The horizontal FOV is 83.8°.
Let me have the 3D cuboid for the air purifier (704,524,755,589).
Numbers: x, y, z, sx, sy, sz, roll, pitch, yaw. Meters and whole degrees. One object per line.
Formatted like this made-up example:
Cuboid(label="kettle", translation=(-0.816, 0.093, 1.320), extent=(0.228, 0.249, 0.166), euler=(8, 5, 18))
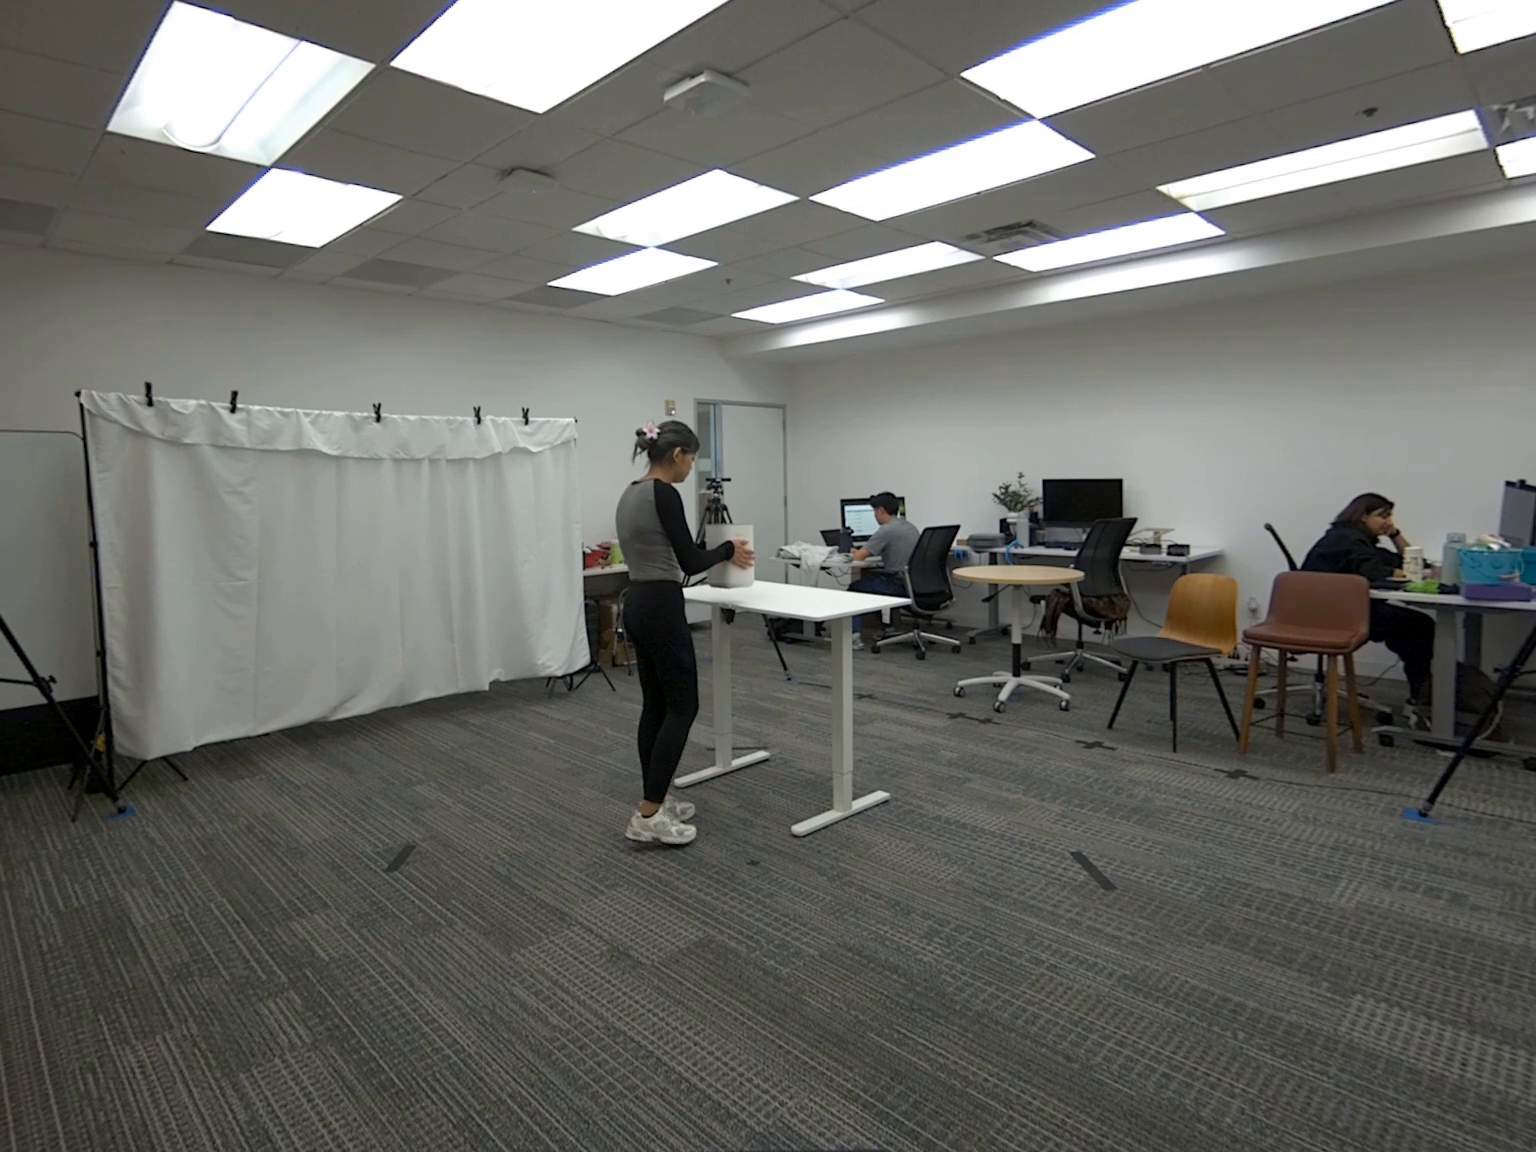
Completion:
Cuboid(label="air purifier", translation=(-0.165, -0.083, 3.555), extent=(0.166, 0.265, 0.176), euler=(-3, 3, -37))
